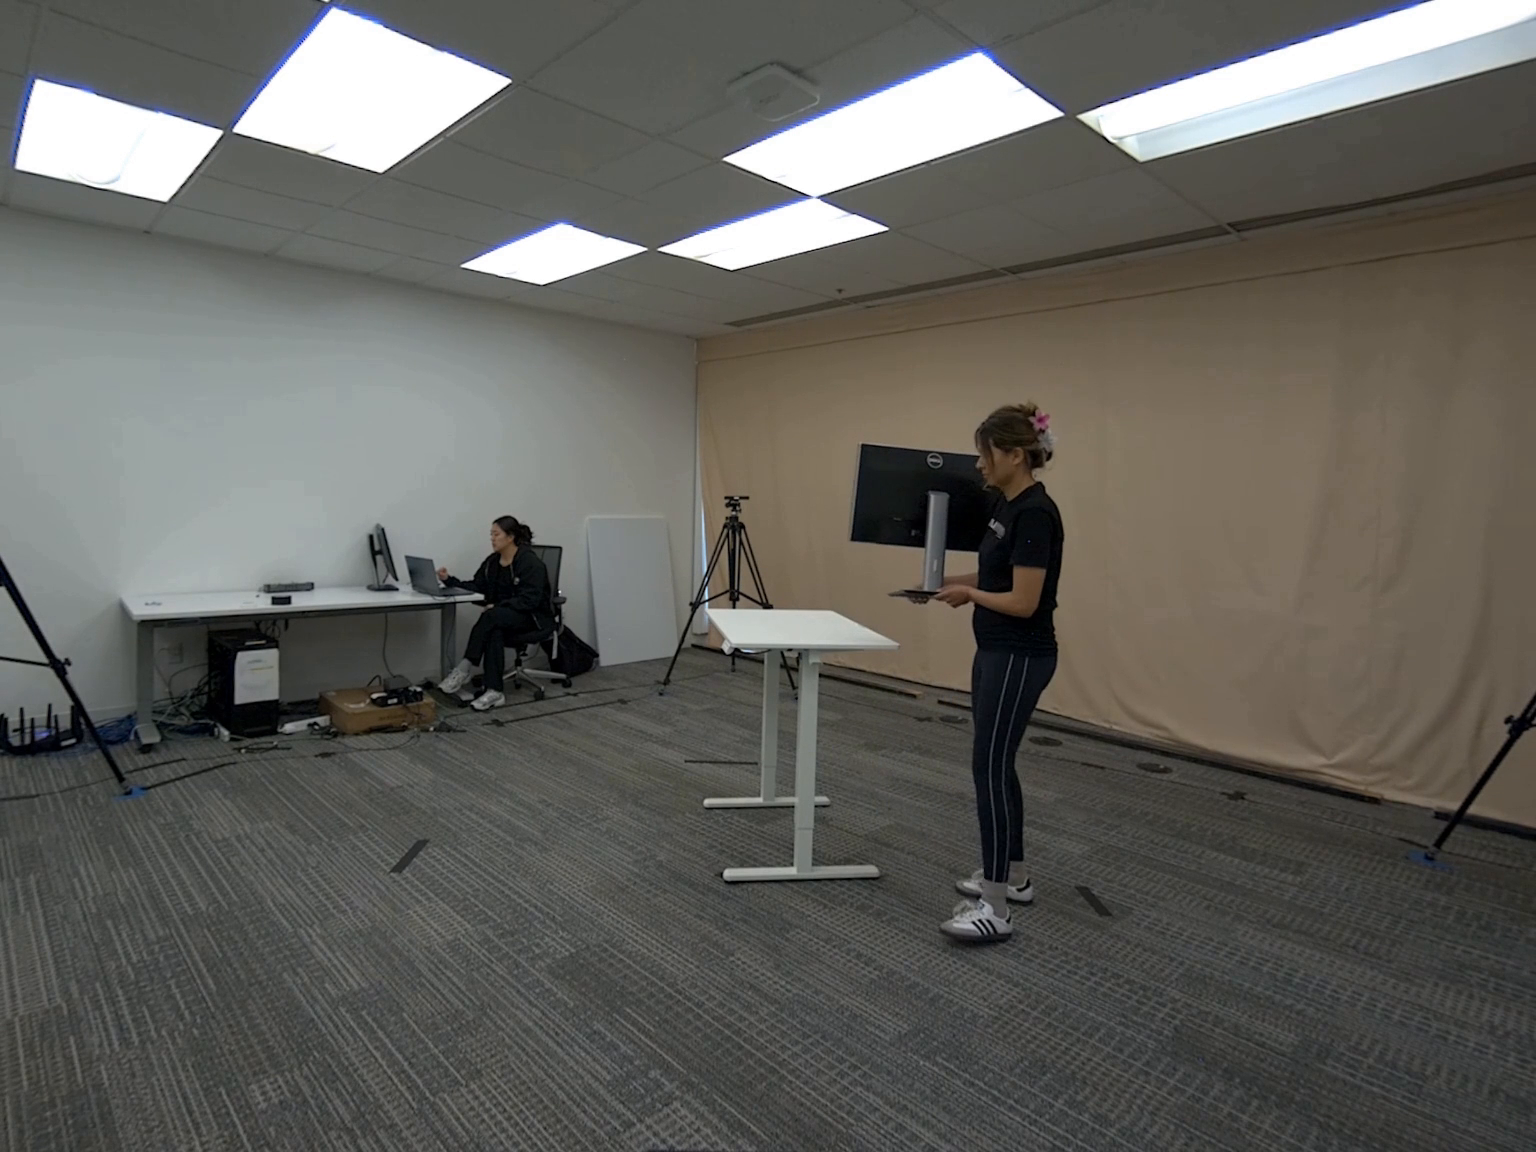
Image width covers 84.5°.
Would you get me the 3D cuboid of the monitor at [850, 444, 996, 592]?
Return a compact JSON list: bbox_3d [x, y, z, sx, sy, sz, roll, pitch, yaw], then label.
[{"bbox_3d":[0.580,-0.192,3.036,0.534,0.525,0.188,5,-6,-11],"label":"monitor"}]
